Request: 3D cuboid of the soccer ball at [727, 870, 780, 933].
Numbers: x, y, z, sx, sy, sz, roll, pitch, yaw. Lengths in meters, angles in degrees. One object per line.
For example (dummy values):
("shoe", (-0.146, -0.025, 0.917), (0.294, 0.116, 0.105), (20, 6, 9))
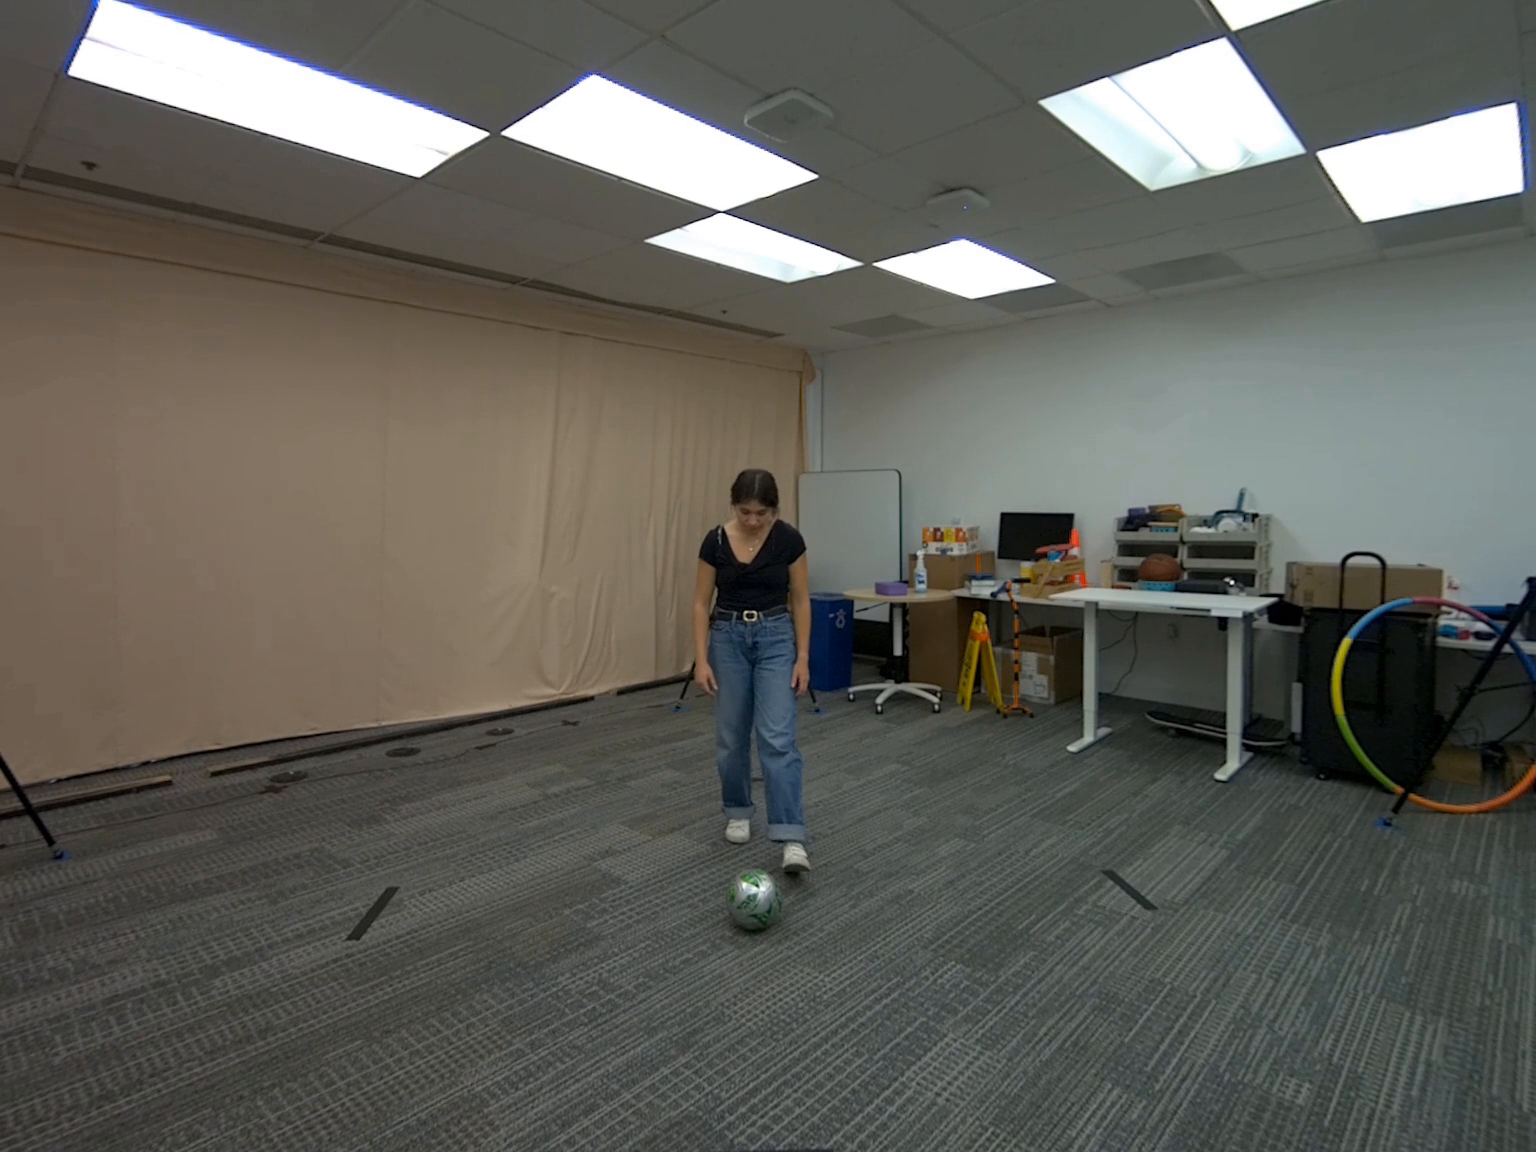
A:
("soccer ball", (-0.049, 1.064, 2.782), (0.187, 0.187, 0.188), (0, 4, -2))
